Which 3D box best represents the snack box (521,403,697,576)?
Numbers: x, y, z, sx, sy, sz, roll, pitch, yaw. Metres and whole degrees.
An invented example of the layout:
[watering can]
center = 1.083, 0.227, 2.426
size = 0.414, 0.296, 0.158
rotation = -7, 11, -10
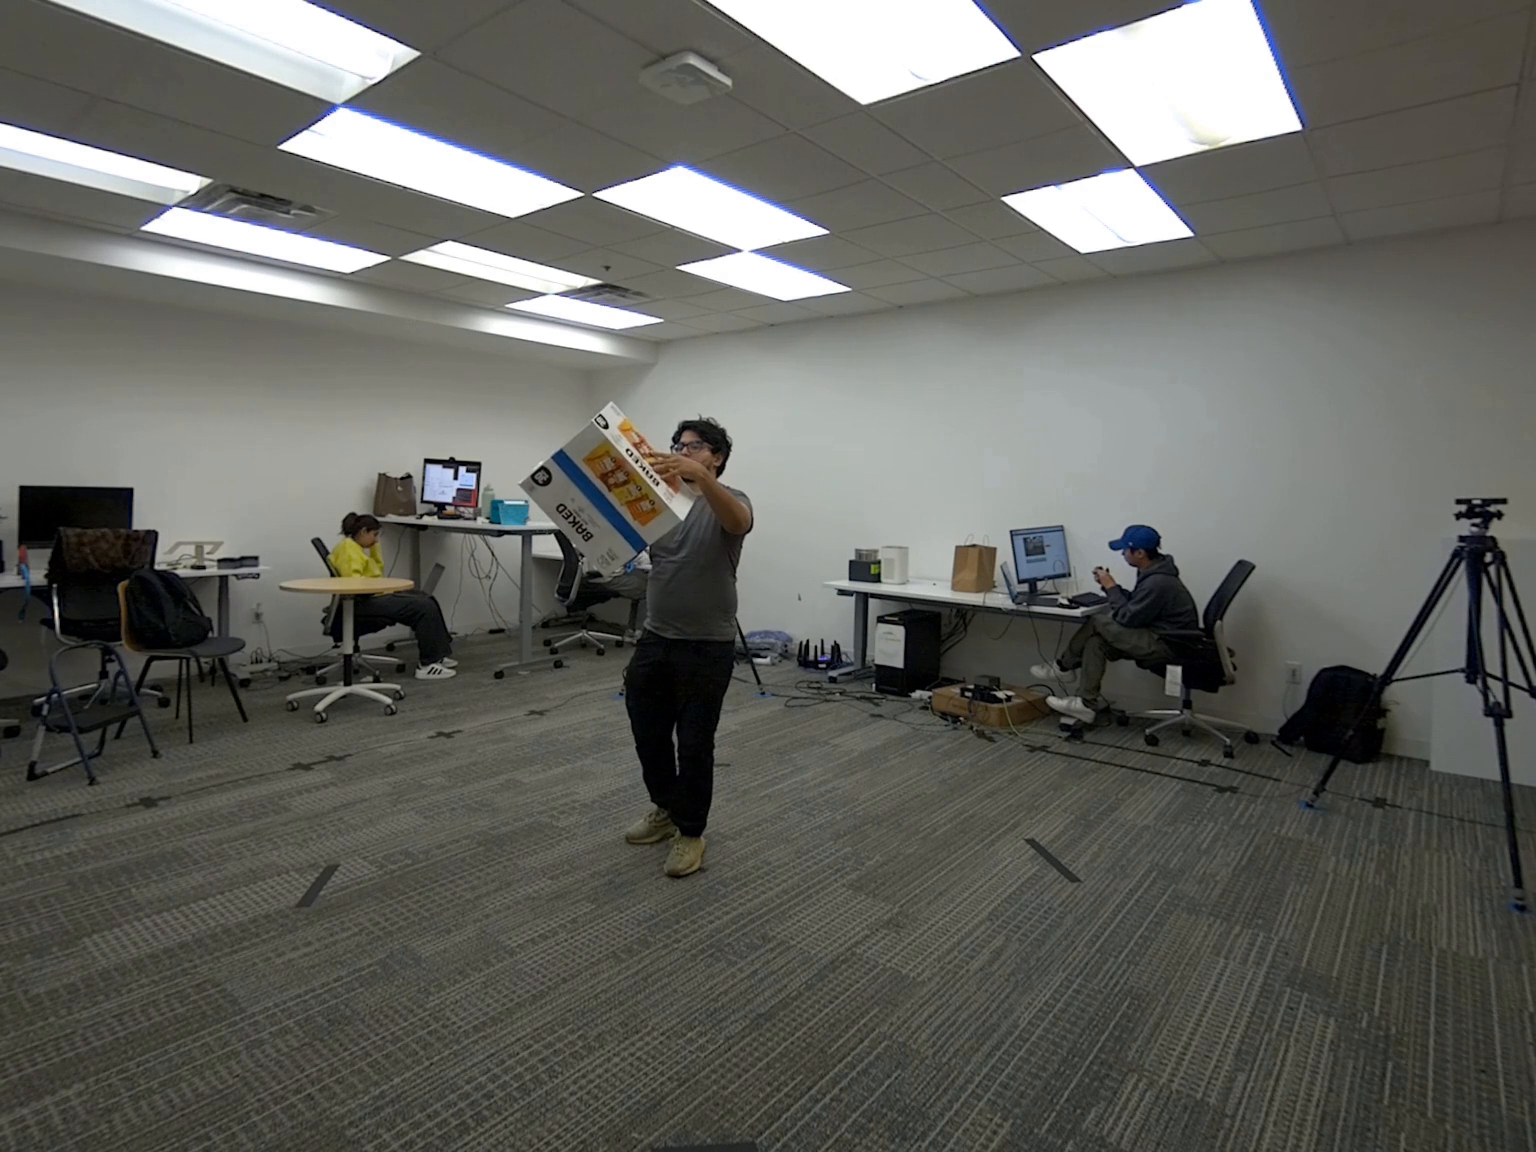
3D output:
[snack box]
center = -0.509, -0.271, 2.680
size = 0.343, 0.398, 0.208
rotation = -35, 15, 24
